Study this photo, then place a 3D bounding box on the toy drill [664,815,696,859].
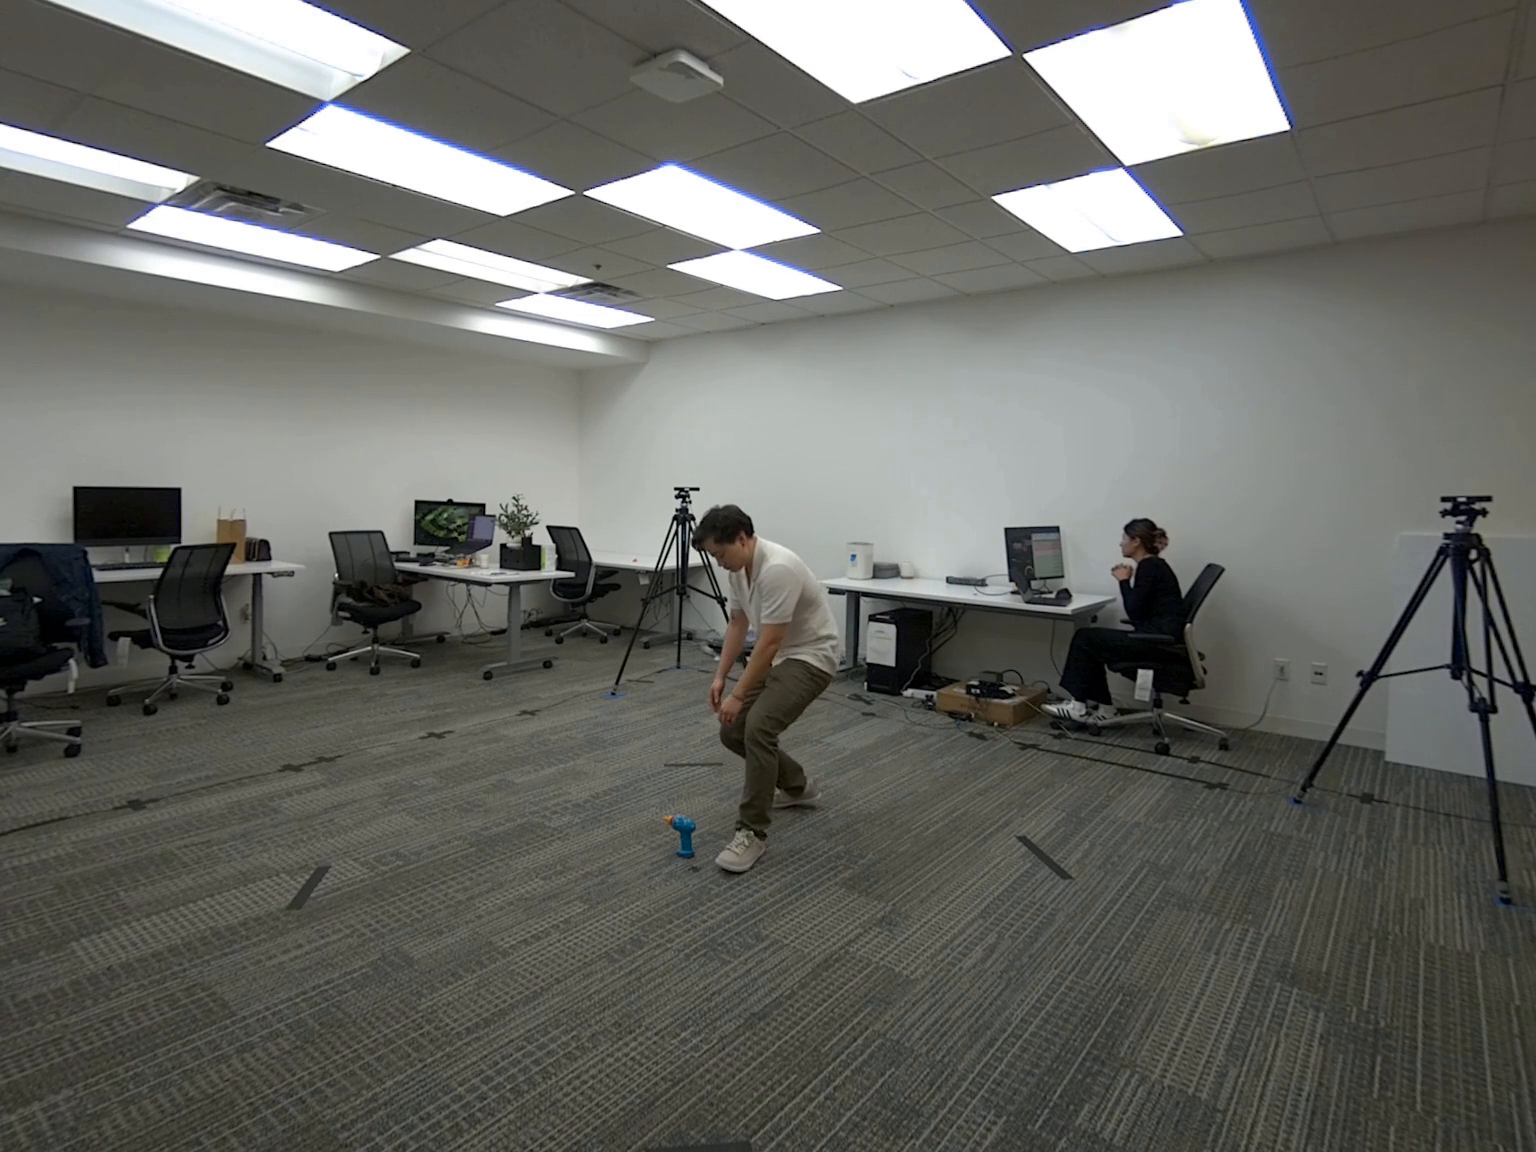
[{"bbox_3d":[-0.349,0.984,3.251,0.175,0.146,0.059,2,2,38],"label":"toy drill"}]
